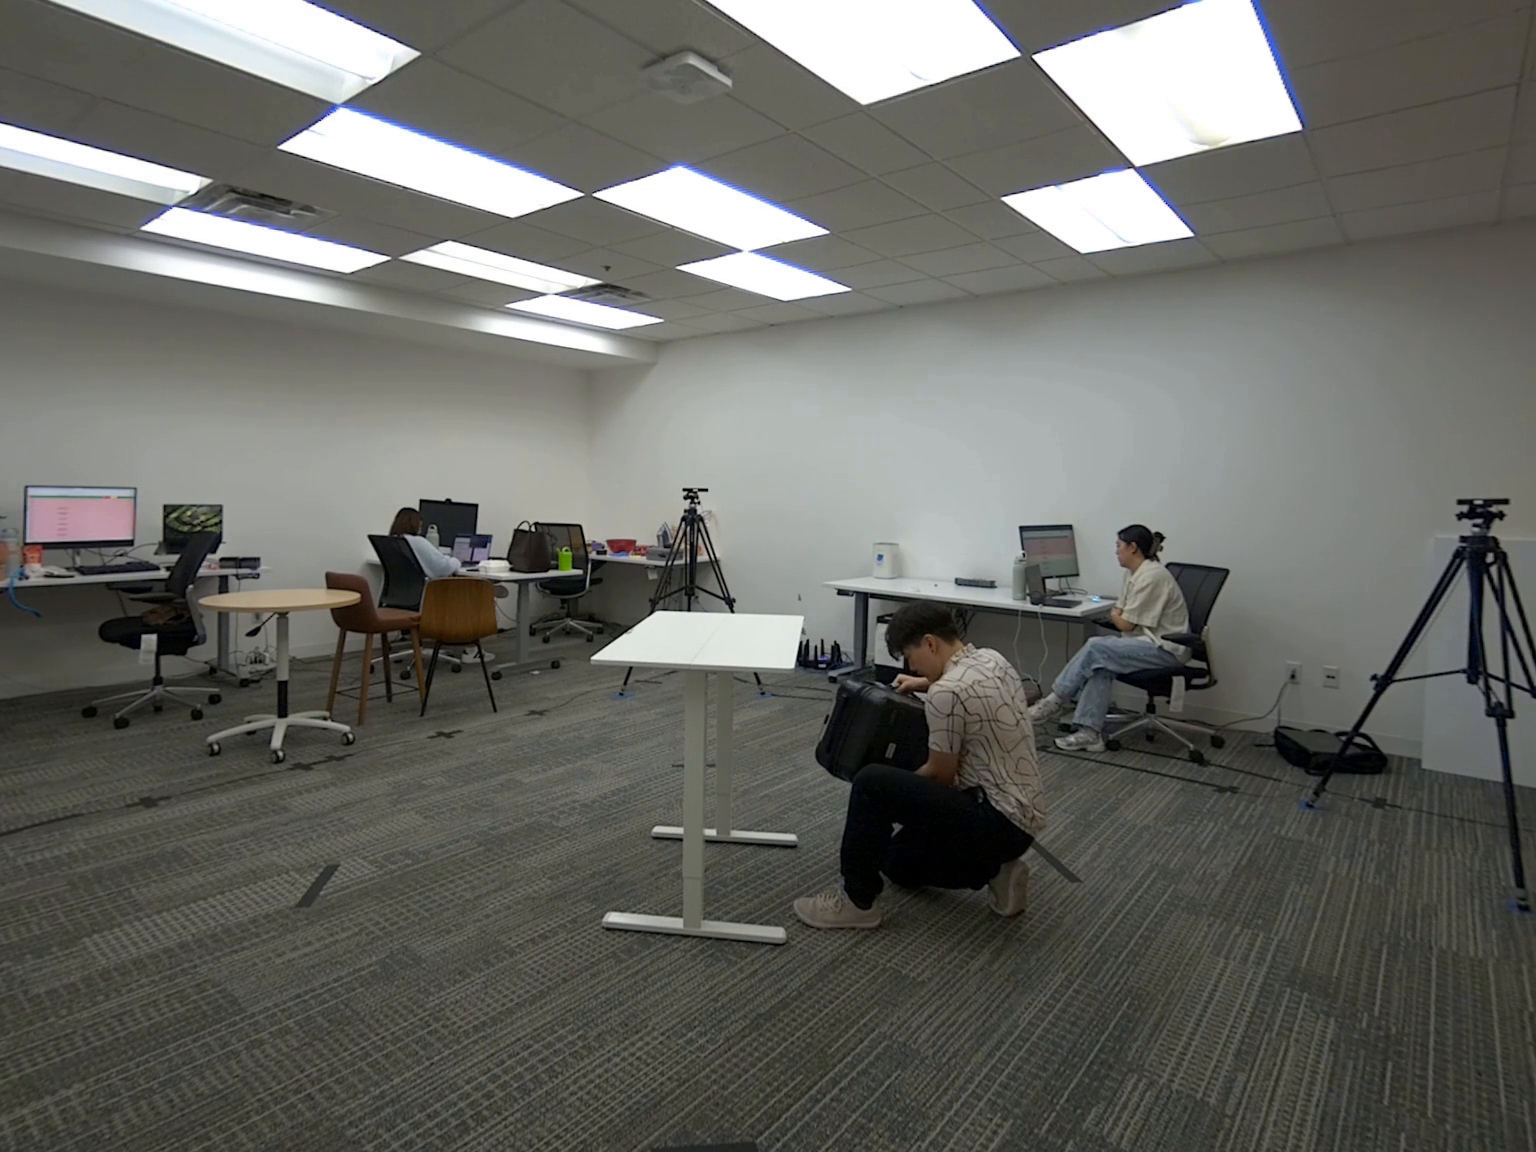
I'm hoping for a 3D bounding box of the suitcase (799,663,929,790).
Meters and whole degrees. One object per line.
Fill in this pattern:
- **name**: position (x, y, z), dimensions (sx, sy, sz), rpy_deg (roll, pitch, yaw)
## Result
- **suitcase**: position (0.453, 0.608, 3.164), dimensions (0.529, 0.376, 0.257), rpy_deg (23, -3, -36)
